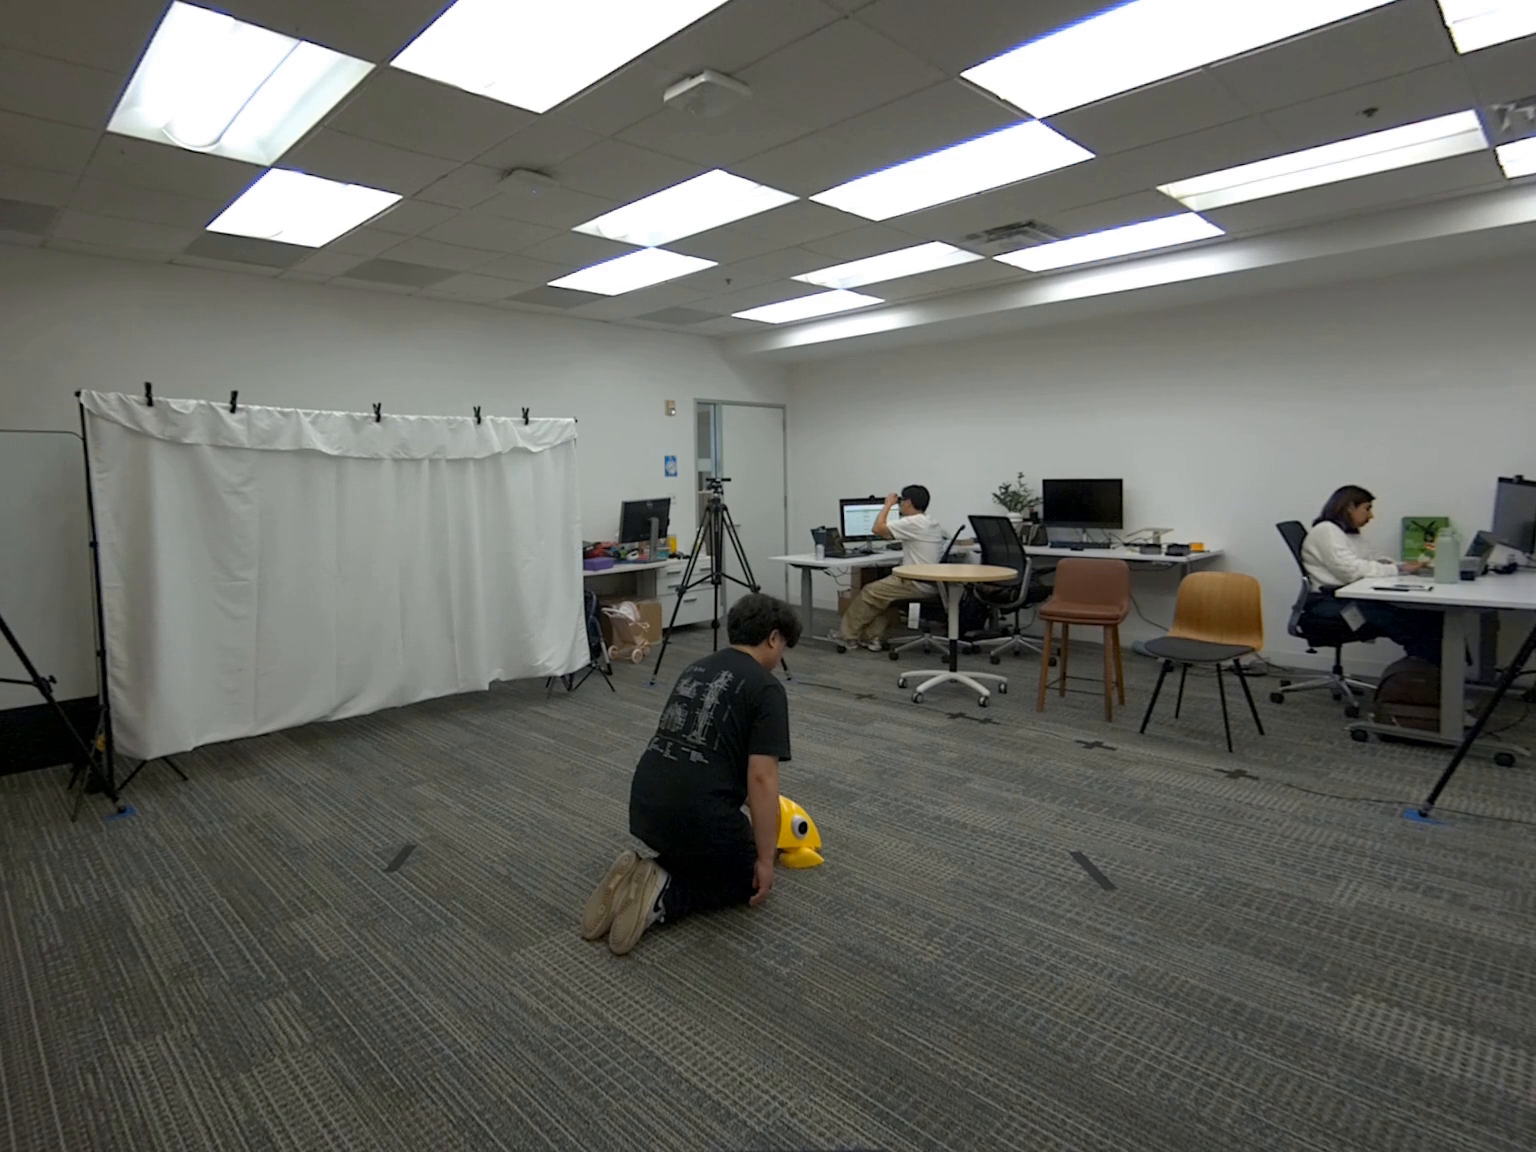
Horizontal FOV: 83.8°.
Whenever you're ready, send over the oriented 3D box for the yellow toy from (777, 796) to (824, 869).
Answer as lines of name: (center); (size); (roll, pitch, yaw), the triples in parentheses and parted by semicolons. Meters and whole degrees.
yellow toy: (0.109, 0.923, 3.155); (0.191, 0.230, 0.207); (0, 5, -9)
